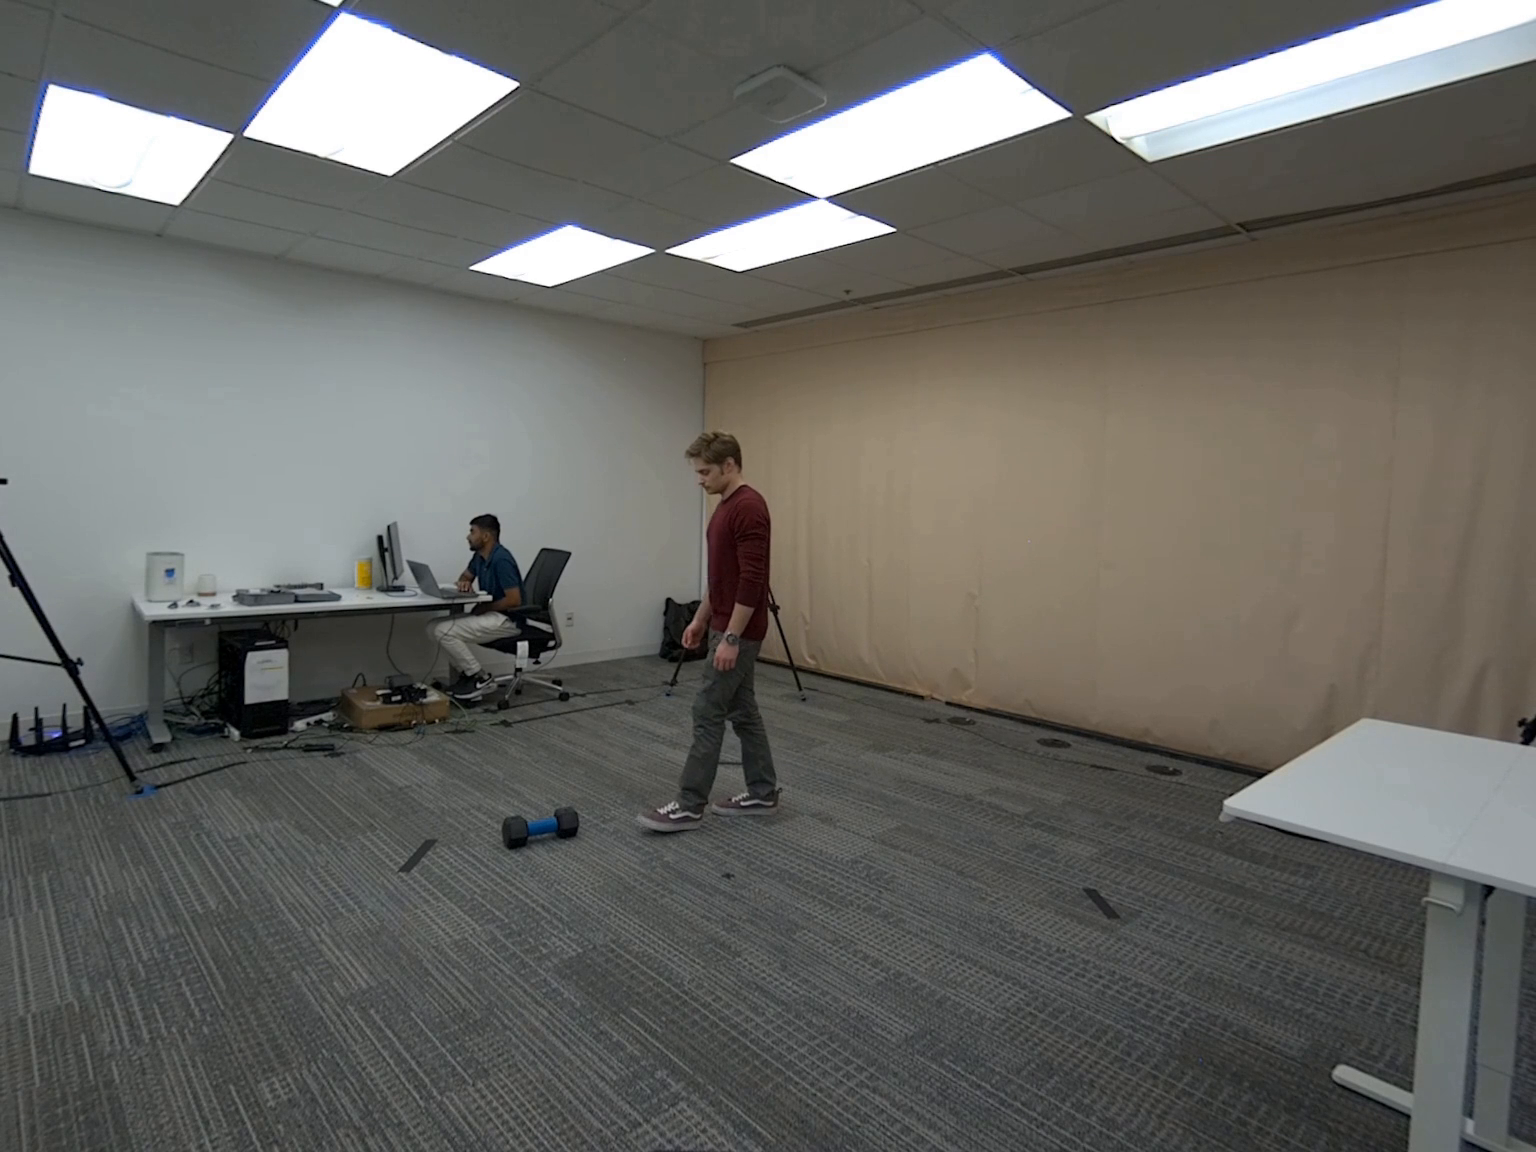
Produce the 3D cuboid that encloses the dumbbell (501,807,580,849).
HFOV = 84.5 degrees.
[{"bbox_3d":[-0.925,1.013,3.388,0.287,0.125,0.109,-2,-26,-33],"label":"dumbbell"}]
